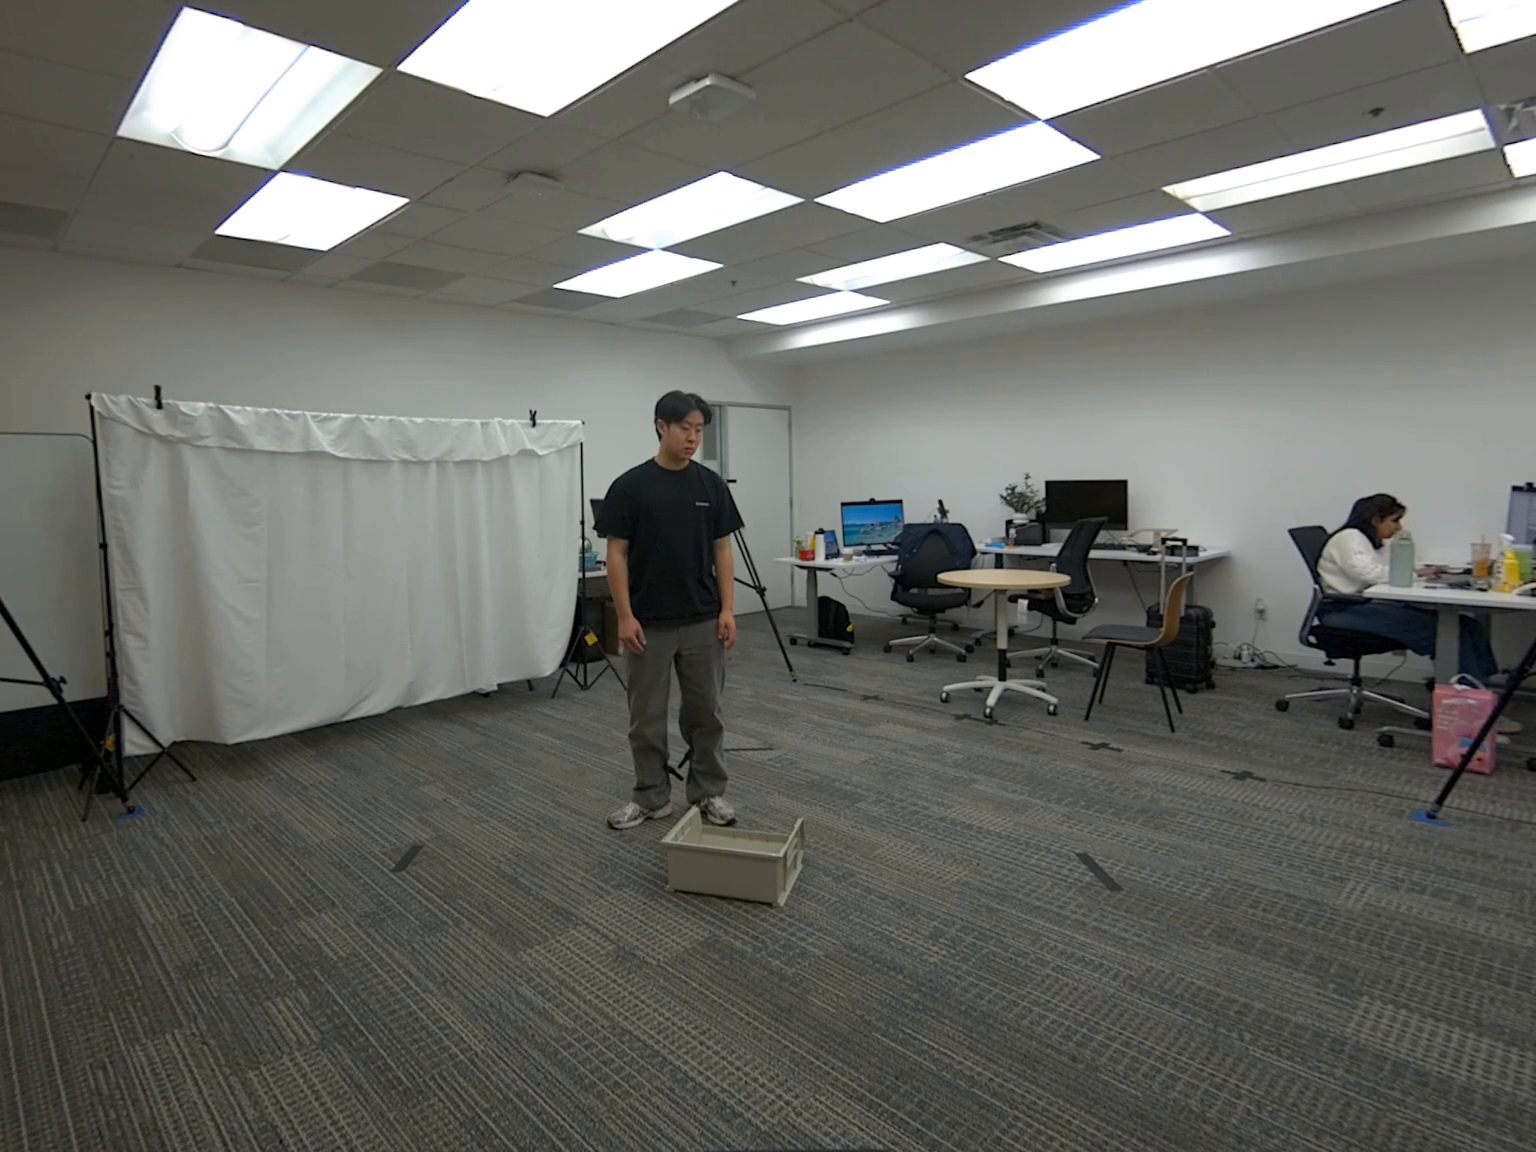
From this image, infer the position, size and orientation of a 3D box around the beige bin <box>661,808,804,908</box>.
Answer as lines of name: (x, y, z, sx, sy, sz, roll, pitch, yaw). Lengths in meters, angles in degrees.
beige bin: (-0.110, 0.971, 3.009, 0.429, 0.188, 0.373, 1, 7, 16)
